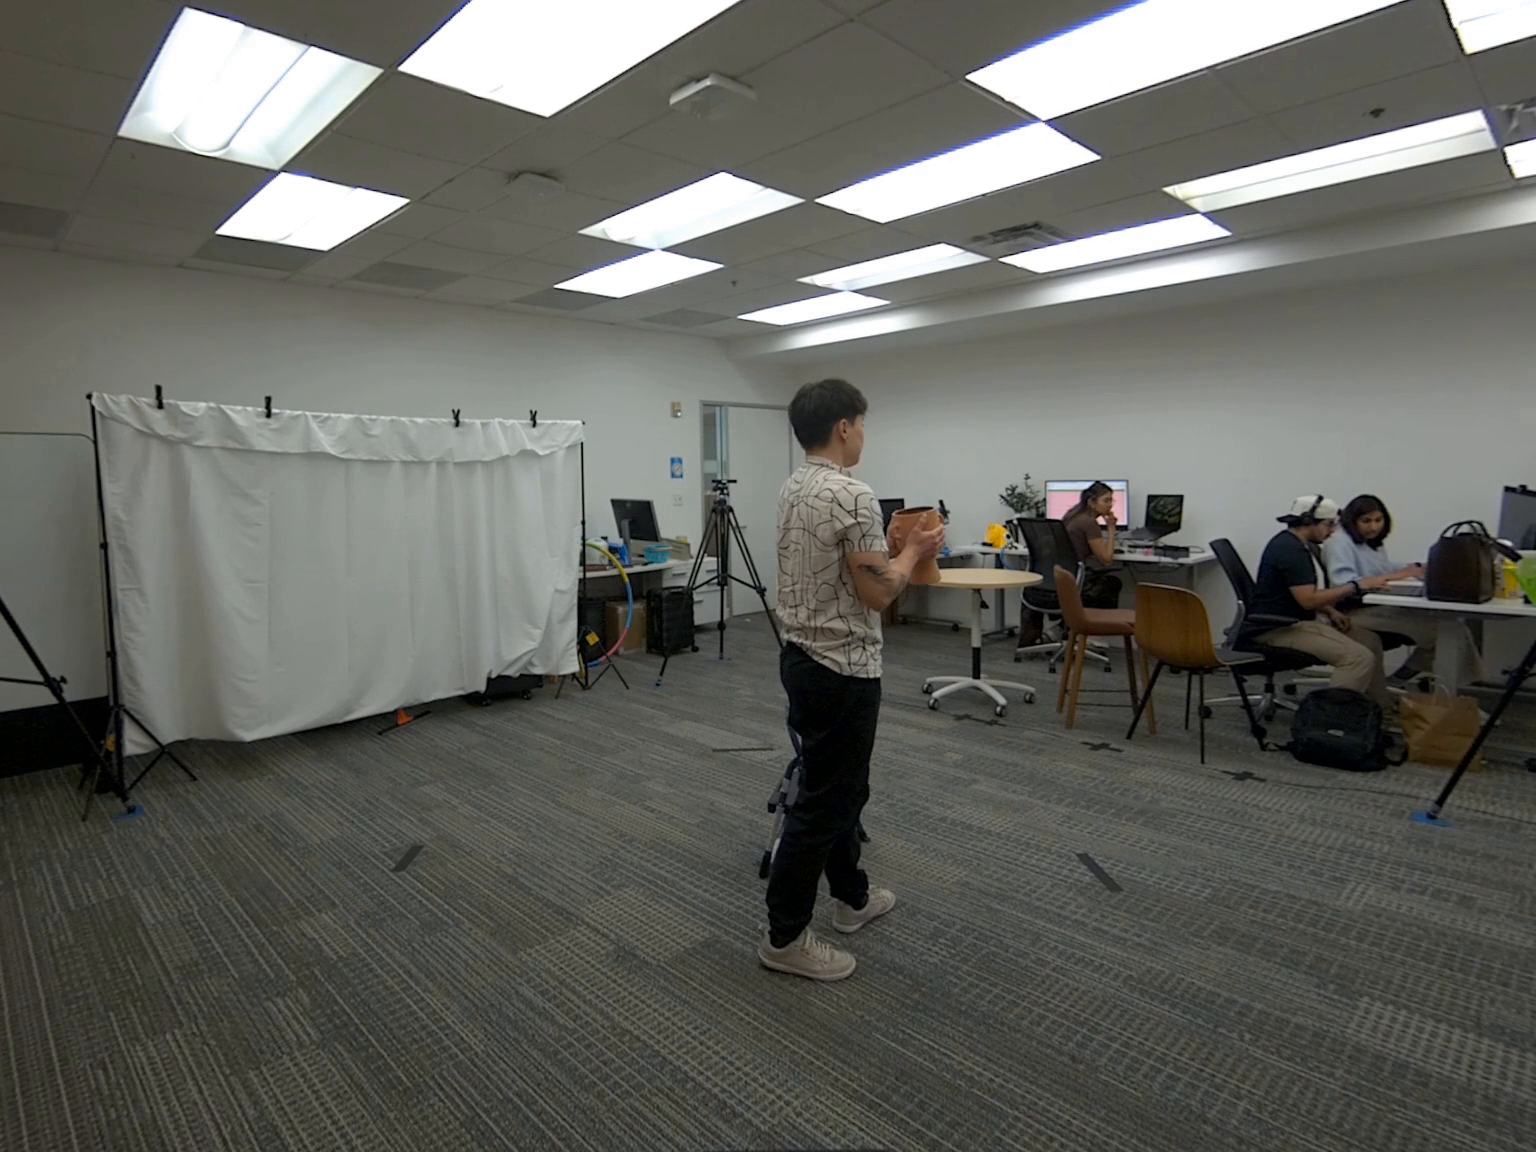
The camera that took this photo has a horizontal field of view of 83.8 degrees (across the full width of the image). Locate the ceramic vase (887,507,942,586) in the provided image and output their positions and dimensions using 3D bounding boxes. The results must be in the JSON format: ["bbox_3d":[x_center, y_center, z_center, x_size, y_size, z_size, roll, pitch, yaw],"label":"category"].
[{"bbox_3d":[0.453,-0.089,2.575,0.161,0.218,0.134,-7,9,19],"label":"ceramic vase"}]
